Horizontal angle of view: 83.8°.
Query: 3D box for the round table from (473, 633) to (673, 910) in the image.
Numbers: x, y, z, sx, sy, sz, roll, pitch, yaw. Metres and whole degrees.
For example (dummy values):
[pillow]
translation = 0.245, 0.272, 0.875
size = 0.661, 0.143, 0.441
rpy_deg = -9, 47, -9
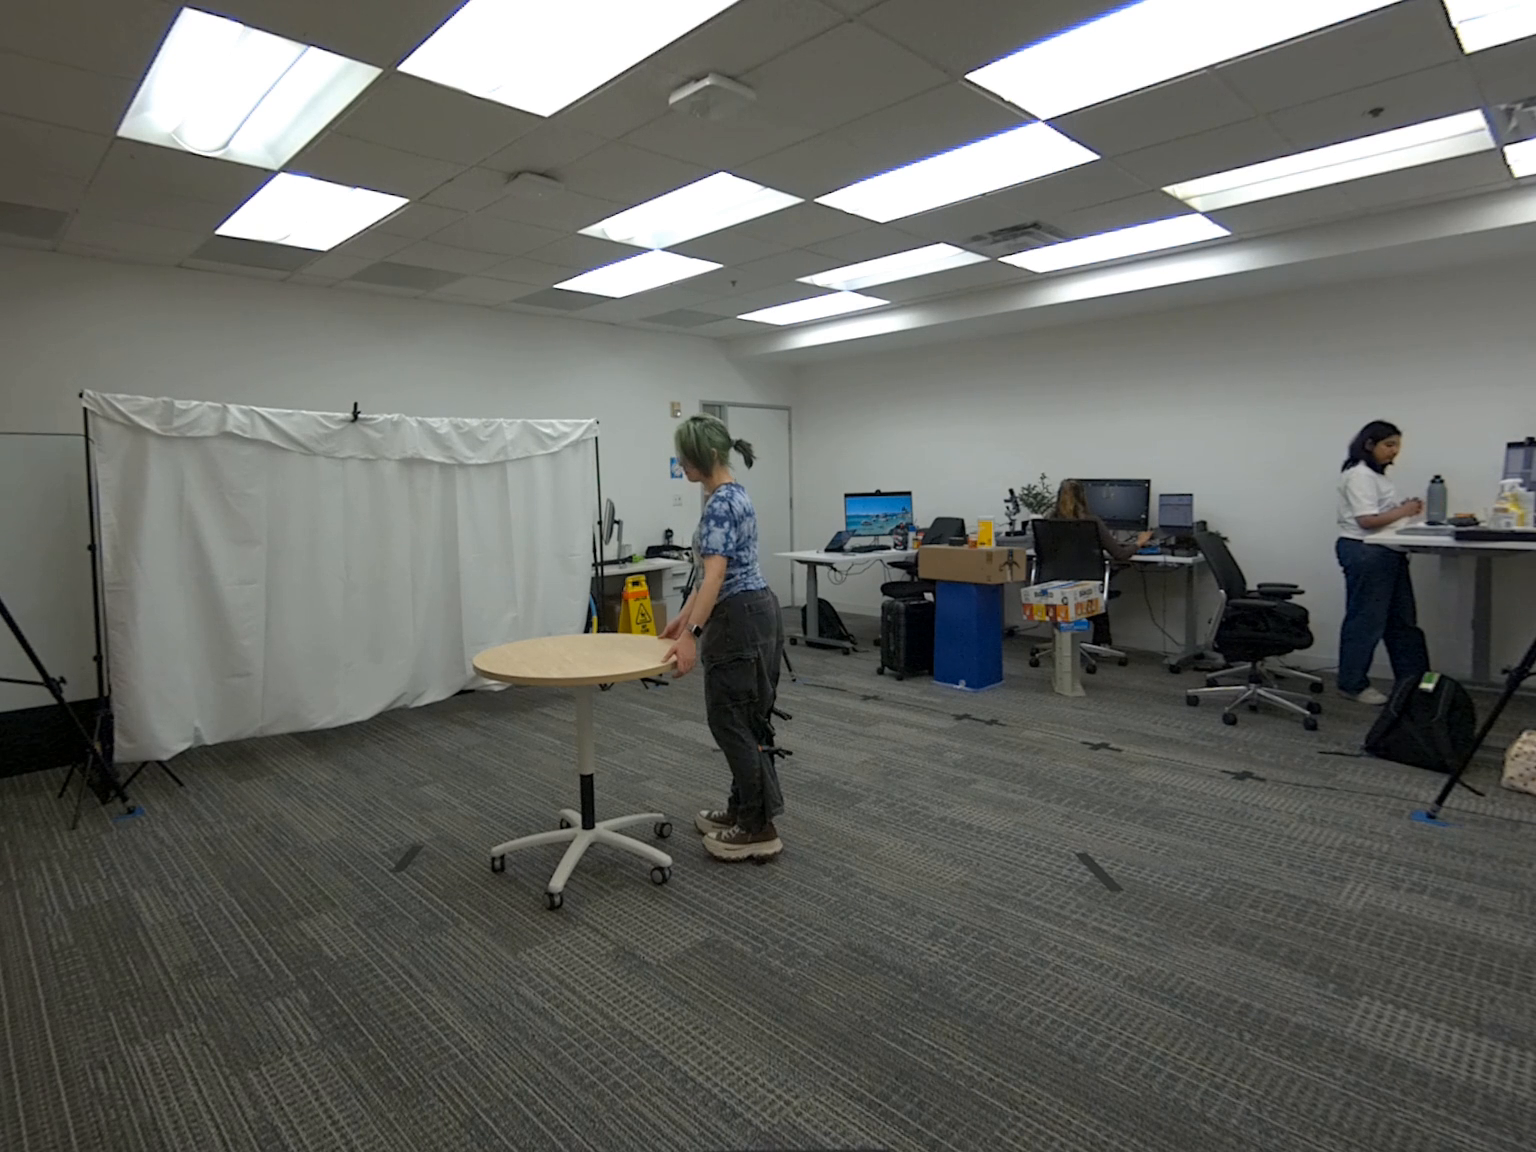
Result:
[round table]
translation = -0.656, 0.670, 3.099
size = 0.763, 0.791, 0.768
rpy_deg = -2, 5, -2
